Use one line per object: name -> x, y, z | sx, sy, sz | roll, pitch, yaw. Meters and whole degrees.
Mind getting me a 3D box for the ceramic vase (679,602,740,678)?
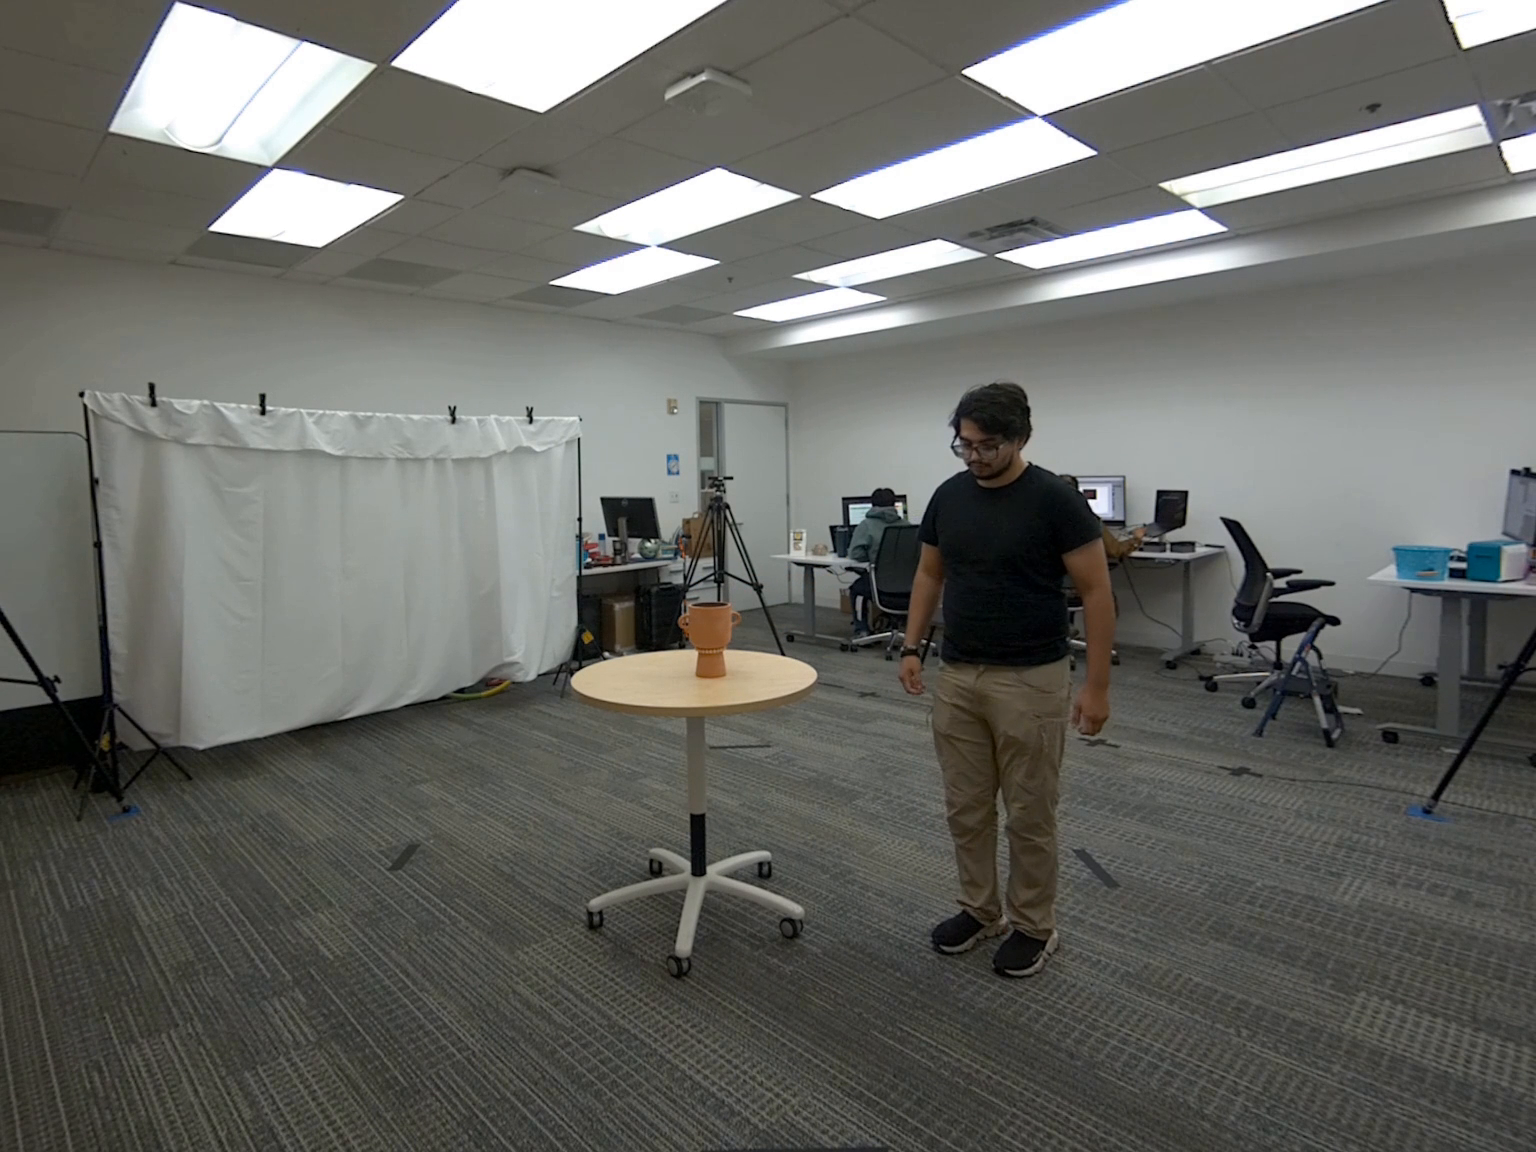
ceramic vase -> -0.176, 0.198, 2.661 | 0.162, 0.219, 0.132 | 1, 4, 24
